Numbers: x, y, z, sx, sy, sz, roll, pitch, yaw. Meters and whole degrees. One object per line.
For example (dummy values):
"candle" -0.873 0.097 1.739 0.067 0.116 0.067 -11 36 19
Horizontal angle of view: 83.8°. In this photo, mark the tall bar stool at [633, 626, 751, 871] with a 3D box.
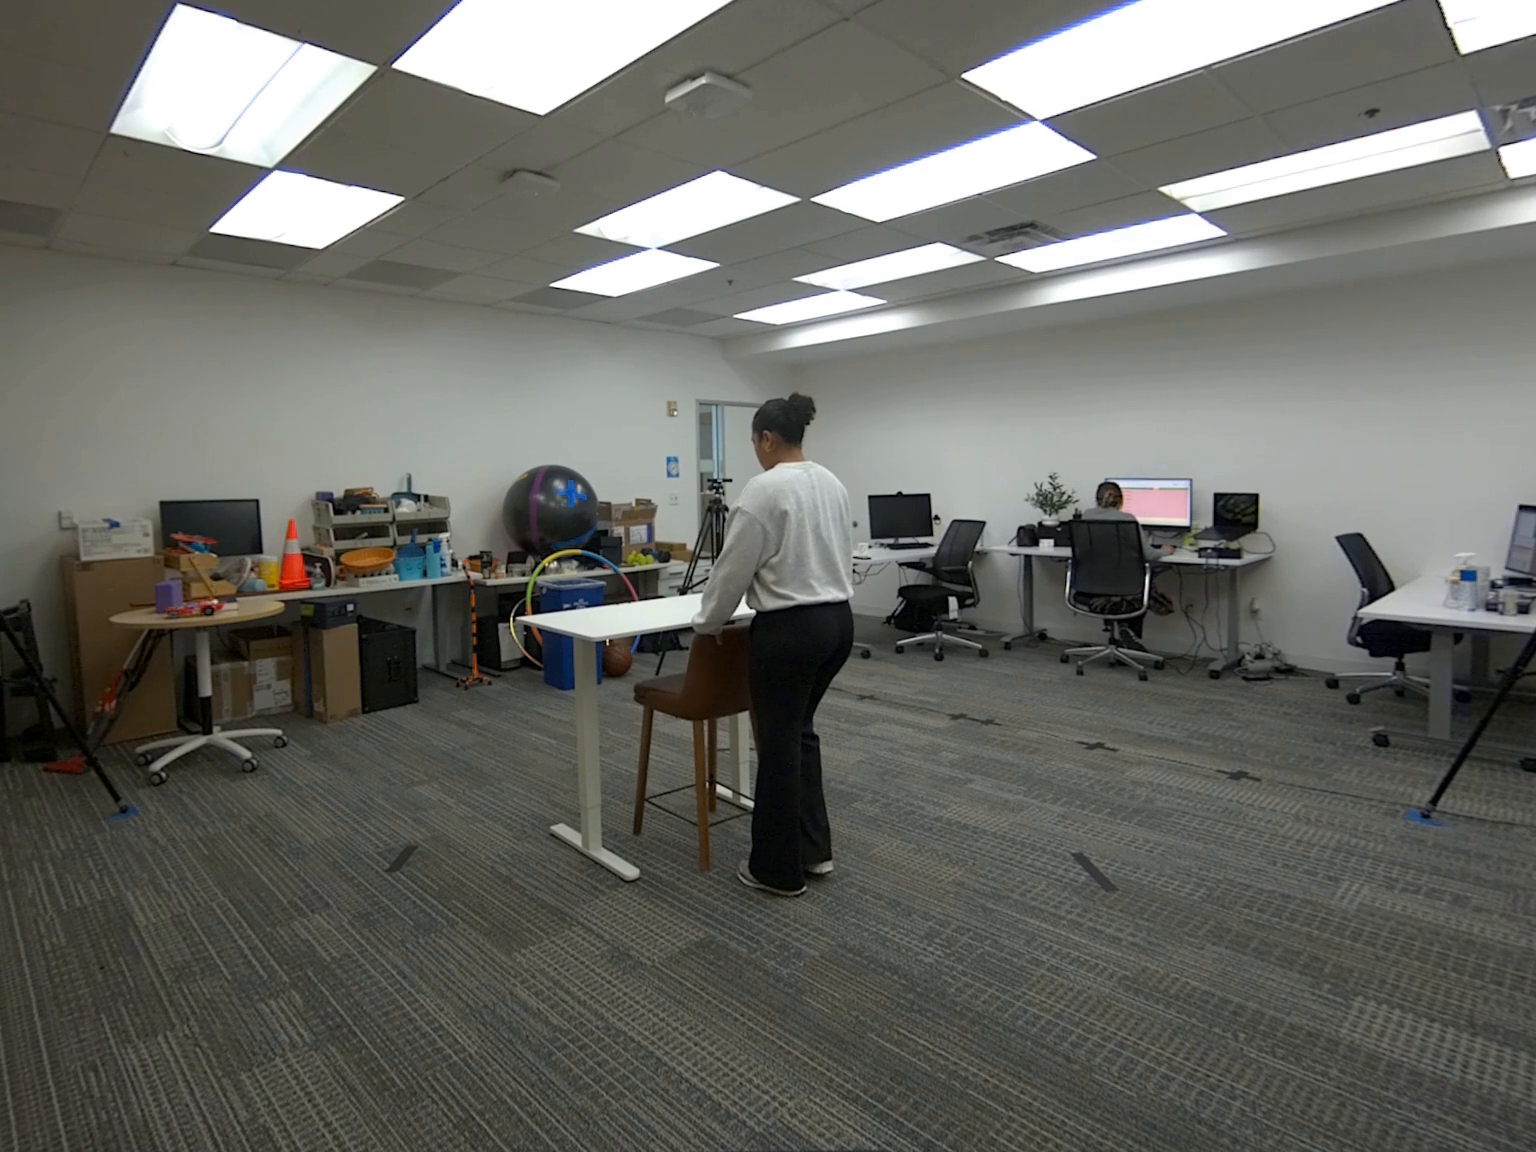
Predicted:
"tall bar stool" -0.233 0.590 3.298 0.444 0.885 0.483 -3 7 -41
